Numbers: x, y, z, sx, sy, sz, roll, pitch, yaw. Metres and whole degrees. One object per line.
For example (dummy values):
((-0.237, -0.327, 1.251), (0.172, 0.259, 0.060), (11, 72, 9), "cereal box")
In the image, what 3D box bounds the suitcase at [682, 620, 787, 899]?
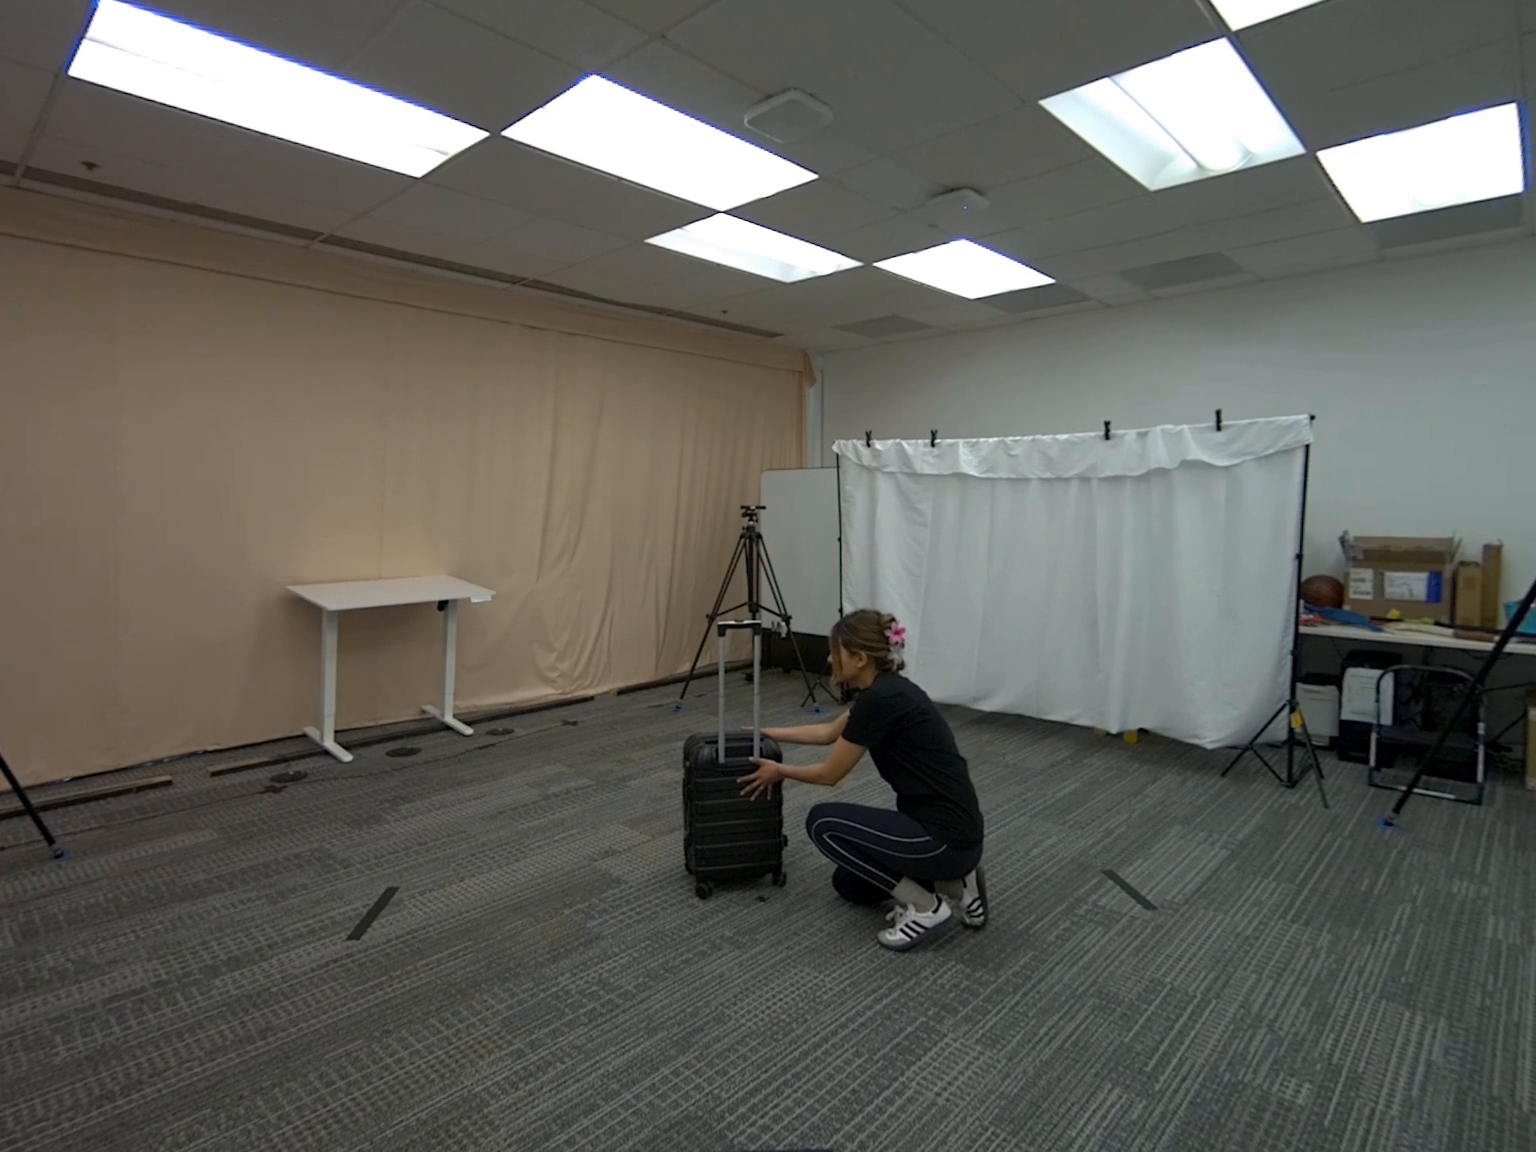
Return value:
((-0.128, 0.658, 3.106), (0.380, 0.977, 0.260), (0, 3, -11), "suitcase")
